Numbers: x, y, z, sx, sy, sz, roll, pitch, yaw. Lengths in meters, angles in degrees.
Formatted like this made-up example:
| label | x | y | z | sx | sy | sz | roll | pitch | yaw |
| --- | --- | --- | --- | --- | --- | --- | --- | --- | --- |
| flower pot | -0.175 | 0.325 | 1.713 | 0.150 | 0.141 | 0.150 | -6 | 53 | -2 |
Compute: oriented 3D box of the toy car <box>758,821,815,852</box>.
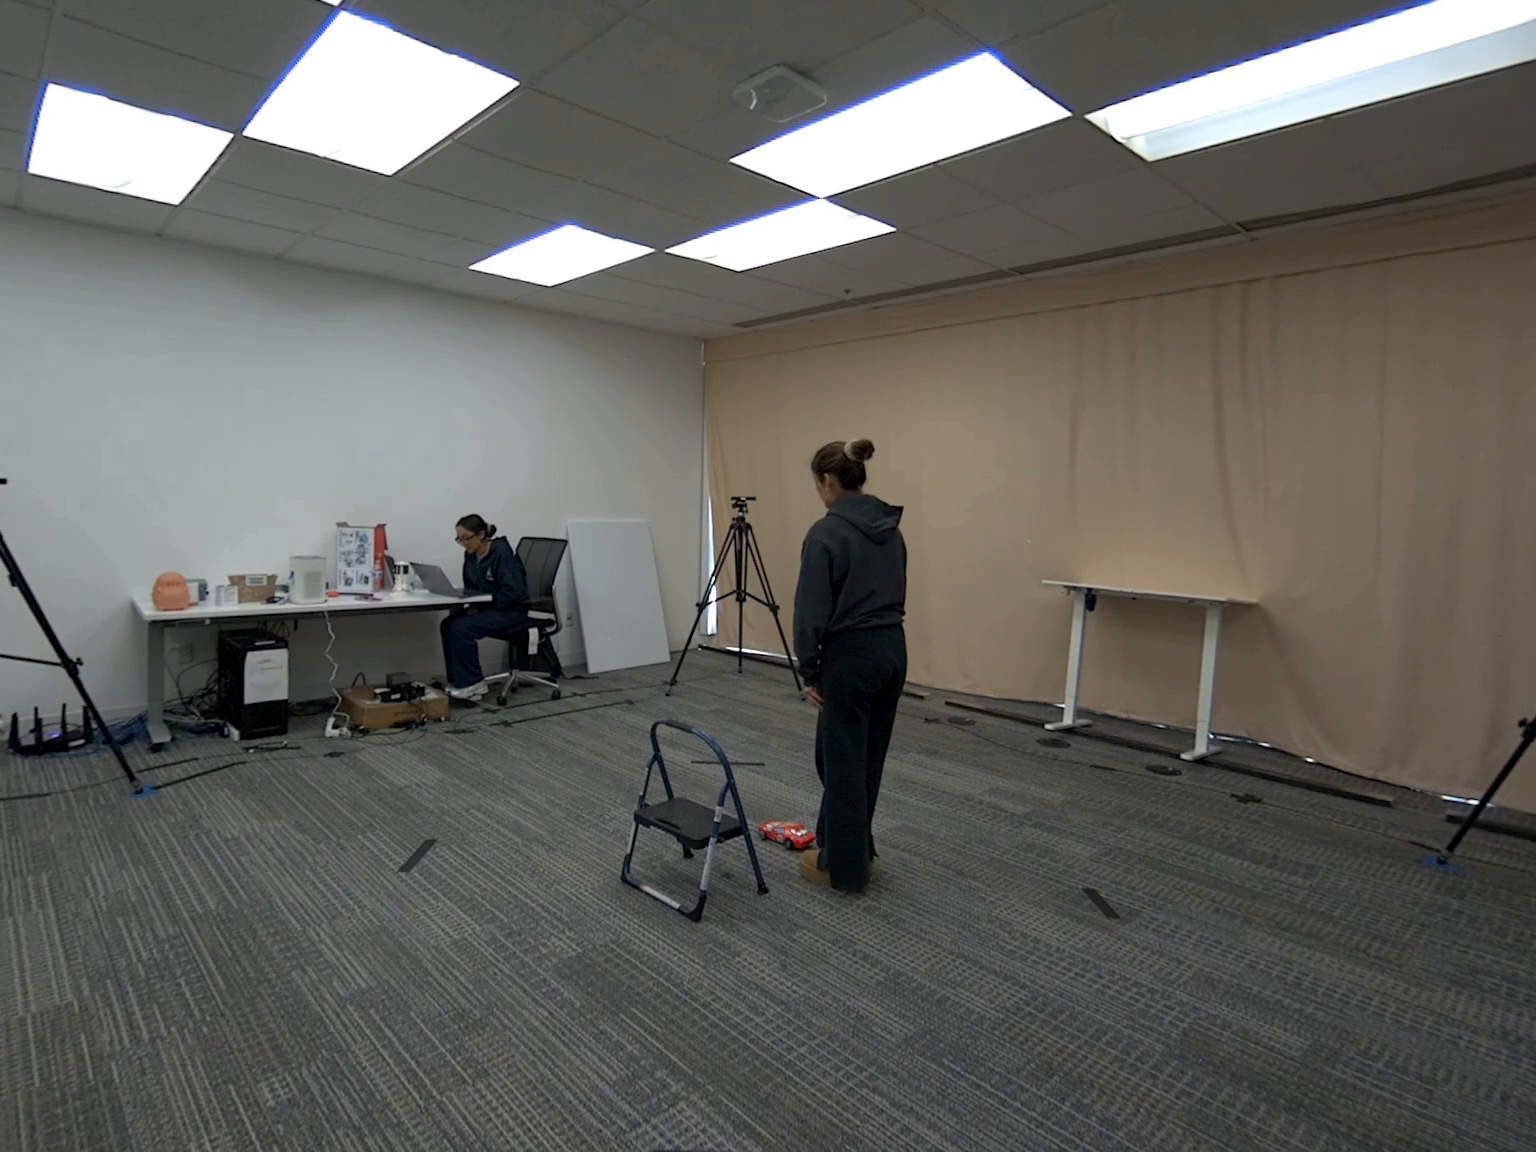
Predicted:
| label | x | y | z | sx | sy | sz | roll | pitch | yaw |
| --- | --- | --- | --- | --- | --- | --- | --- | --- | --- |
| toy car | 0.073 | 1.050 | 3.429 | 0.259 | 0.083 | 0.127 | -9 | -5 | 43 |
